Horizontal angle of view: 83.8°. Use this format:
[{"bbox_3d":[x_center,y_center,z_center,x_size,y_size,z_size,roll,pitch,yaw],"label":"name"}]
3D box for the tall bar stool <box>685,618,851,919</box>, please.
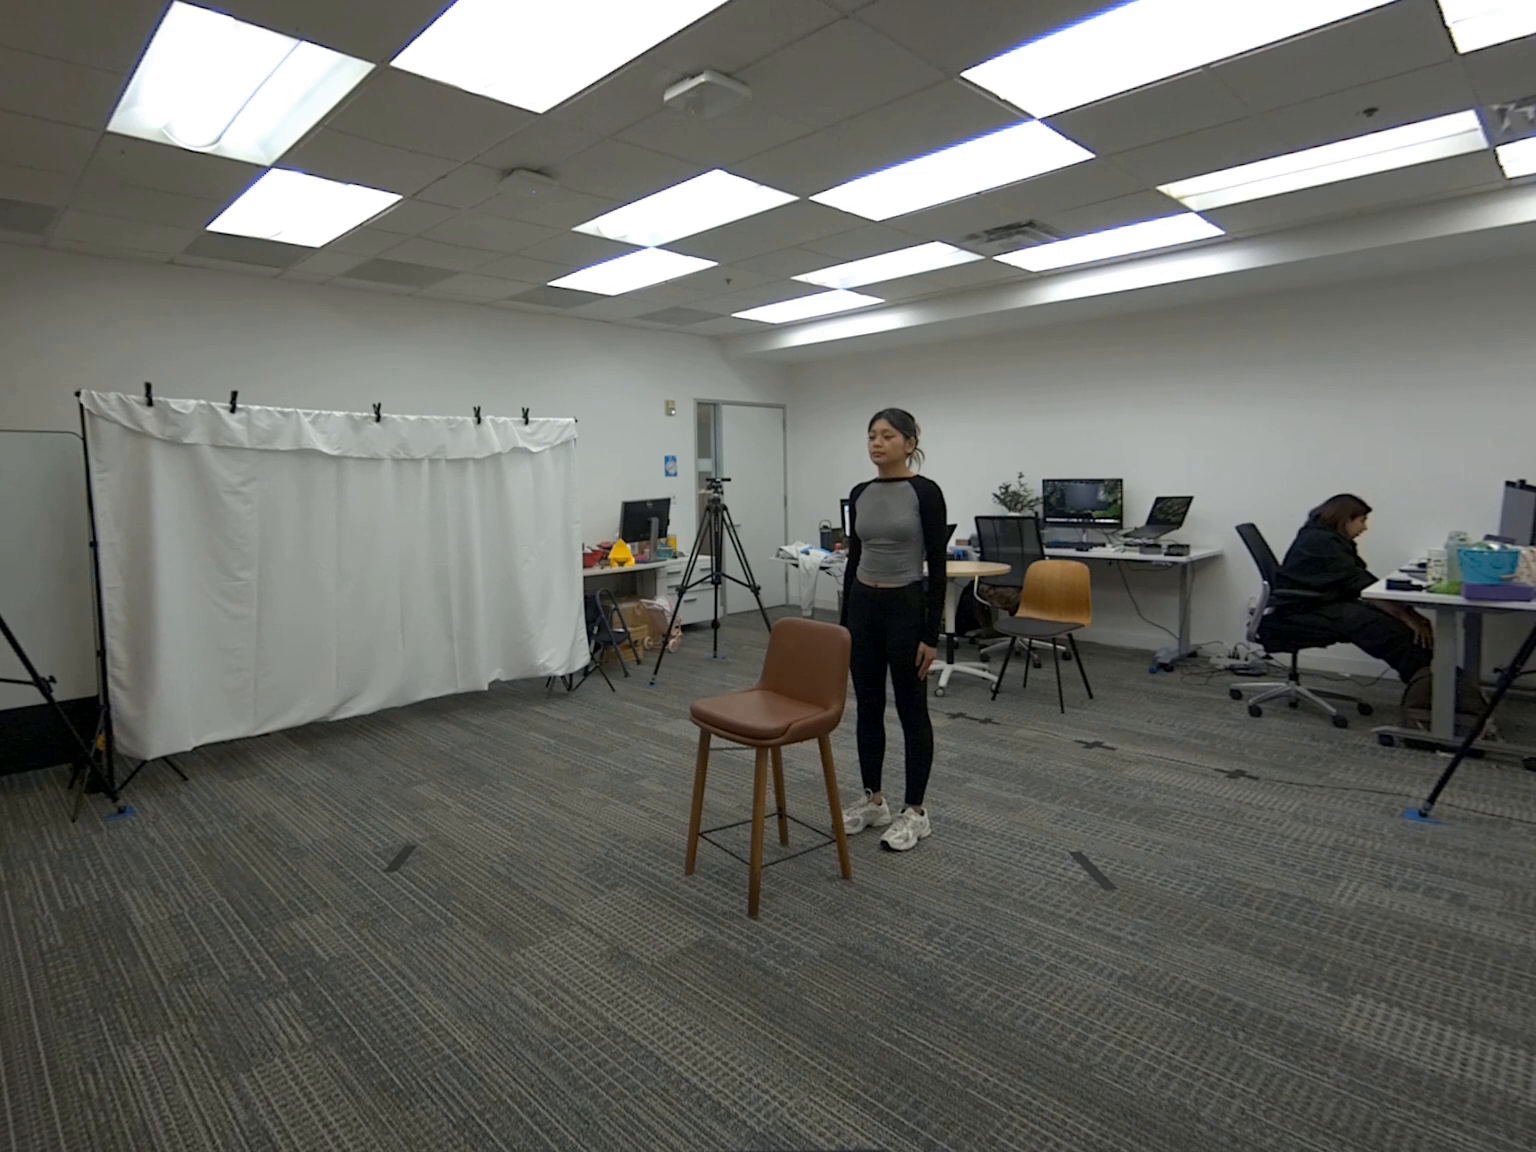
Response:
[{"bbox_3d":[0.011,0.618,2.971,0.455,0.888,0.470,-1,3,-36],"label":"tall bar stool"}]
